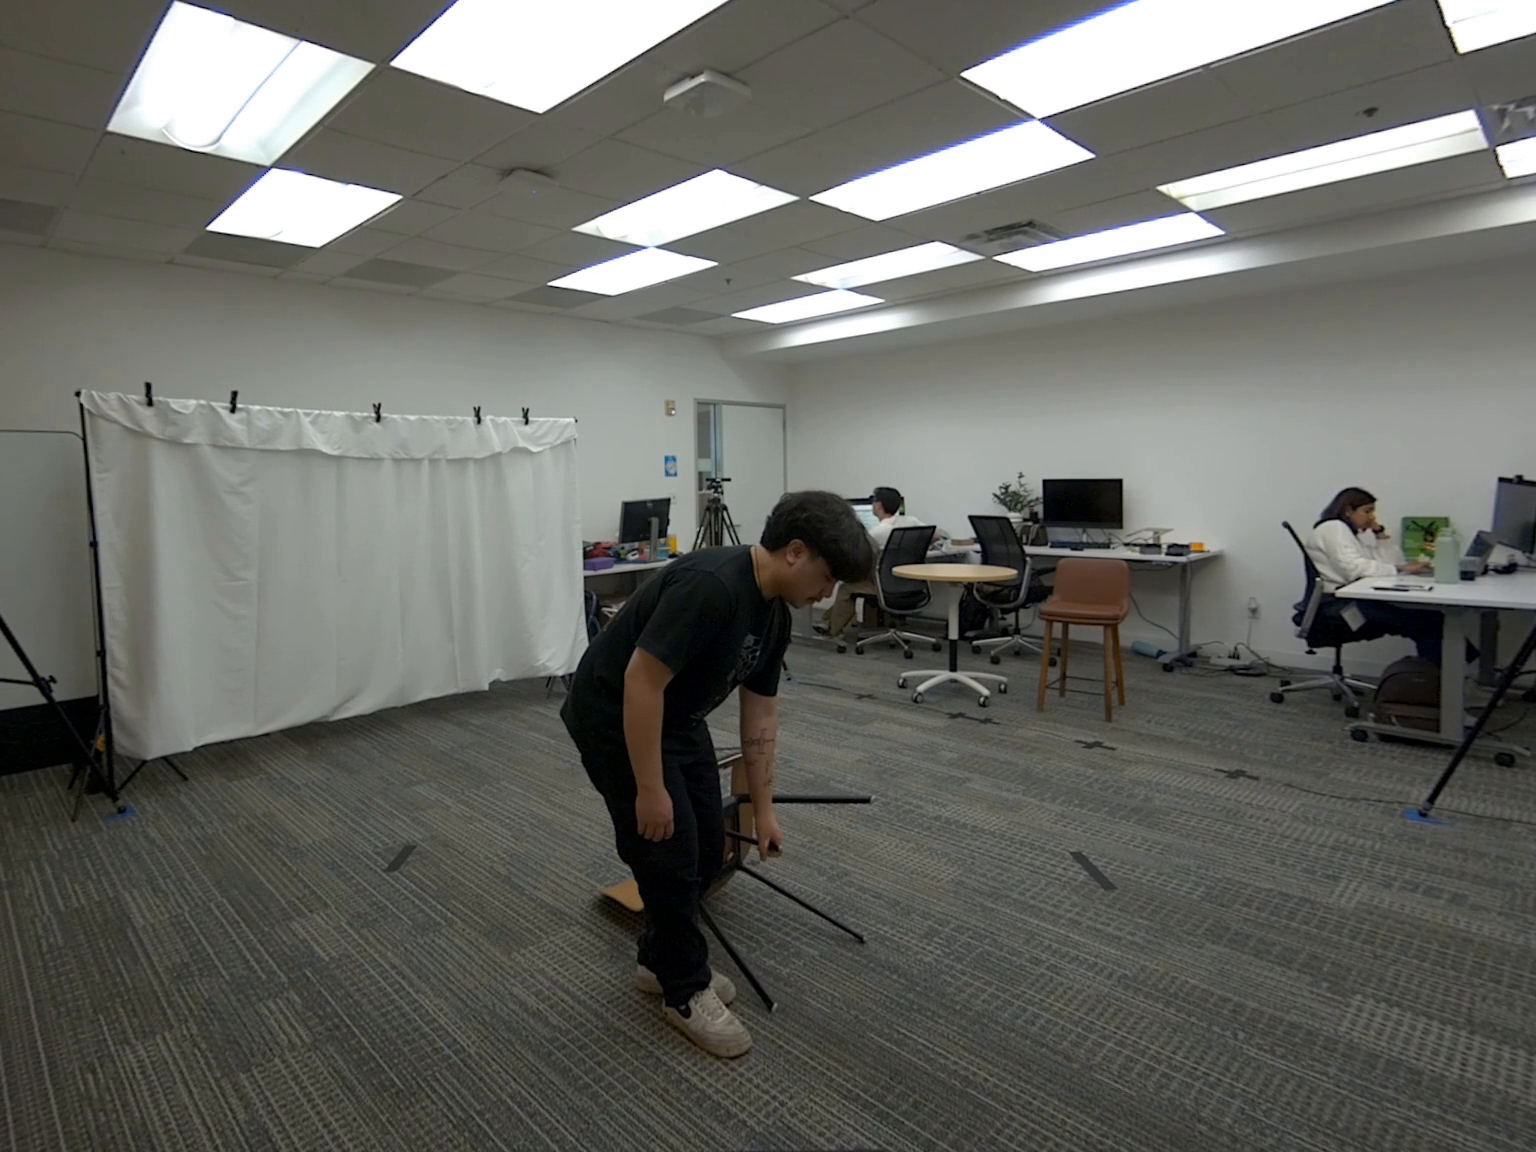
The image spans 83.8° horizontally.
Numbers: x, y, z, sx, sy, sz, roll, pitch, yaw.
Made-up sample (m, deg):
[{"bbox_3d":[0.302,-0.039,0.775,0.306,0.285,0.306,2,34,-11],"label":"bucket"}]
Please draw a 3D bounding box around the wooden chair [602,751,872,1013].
[{"bbox_3d":[-0.162,0.838,2.667,0.904,0.521,0.466,3,6,41],"label":"wooden chair"}]
